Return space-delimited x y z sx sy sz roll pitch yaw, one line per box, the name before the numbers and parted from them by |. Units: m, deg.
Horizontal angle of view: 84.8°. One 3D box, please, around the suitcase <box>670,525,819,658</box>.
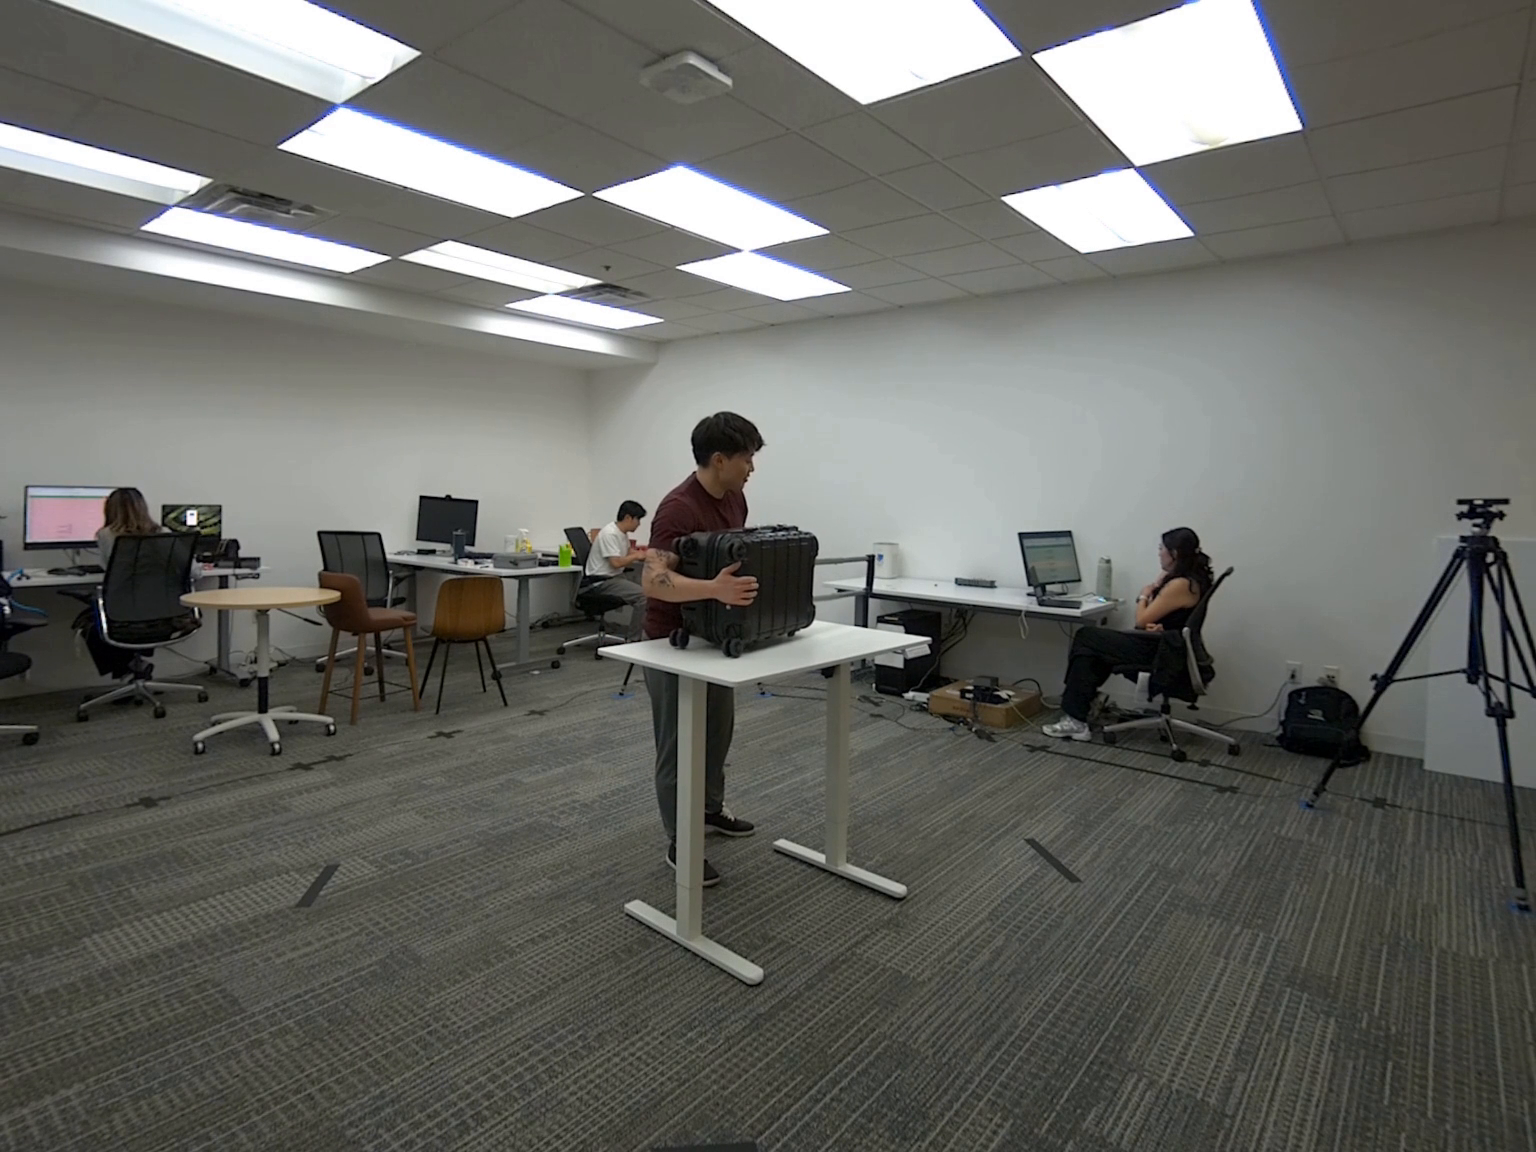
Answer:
suitcase | 0.060 0.008 2.978 0.265 0.382 0.952 4 8 34
